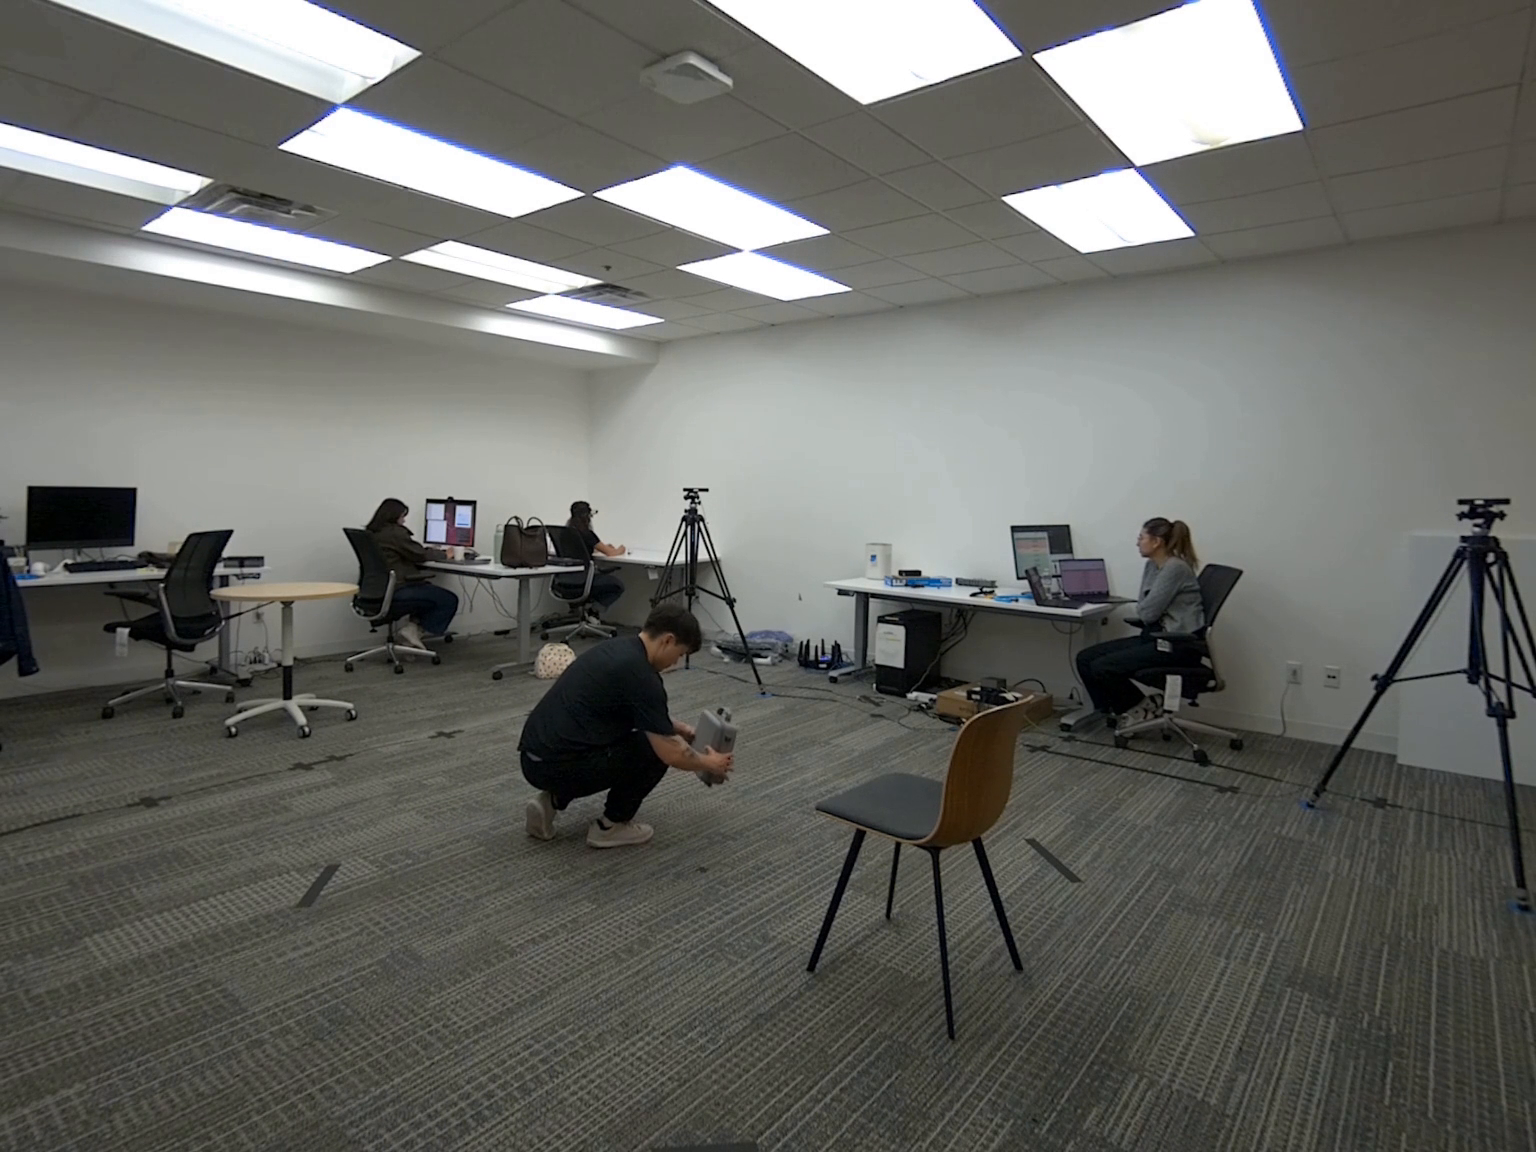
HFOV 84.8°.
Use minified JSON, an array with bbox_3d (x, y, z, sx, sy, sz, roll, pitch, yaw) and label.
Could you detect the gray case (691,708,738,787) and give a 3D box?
[{"bbox_3d":[-0.243,0.698,3.541,0.102,0.260,0.263,17,1,-19],"label":"gray case"}]
